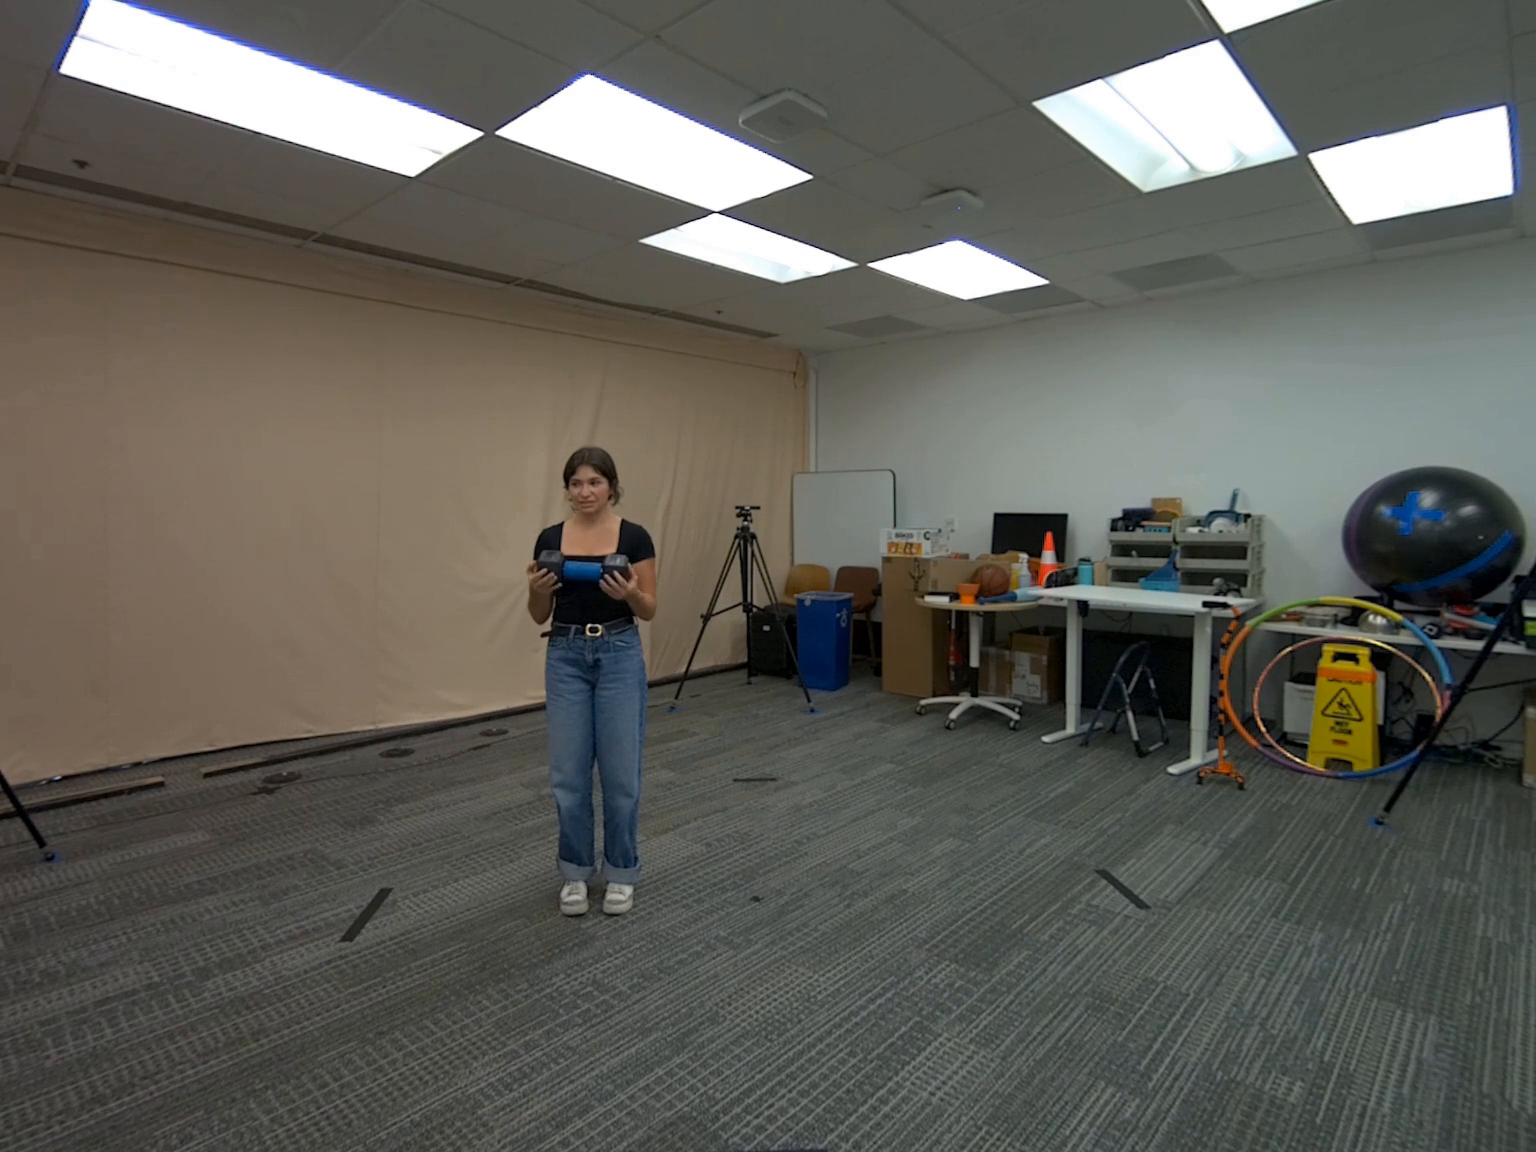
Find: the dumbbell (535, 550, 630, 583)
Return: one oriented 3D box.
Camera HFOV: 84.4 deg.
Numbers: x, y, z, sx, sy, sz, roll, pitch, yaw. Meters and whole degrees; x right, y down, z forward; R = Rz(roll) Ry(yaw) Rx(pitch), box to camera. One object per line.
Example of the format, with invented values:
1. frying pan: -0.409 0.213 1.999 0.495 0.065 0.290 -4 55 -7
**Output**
1. dumbbell: -0.602 -0.009 2.761 0.295 0.122 0.109 4 10 4
